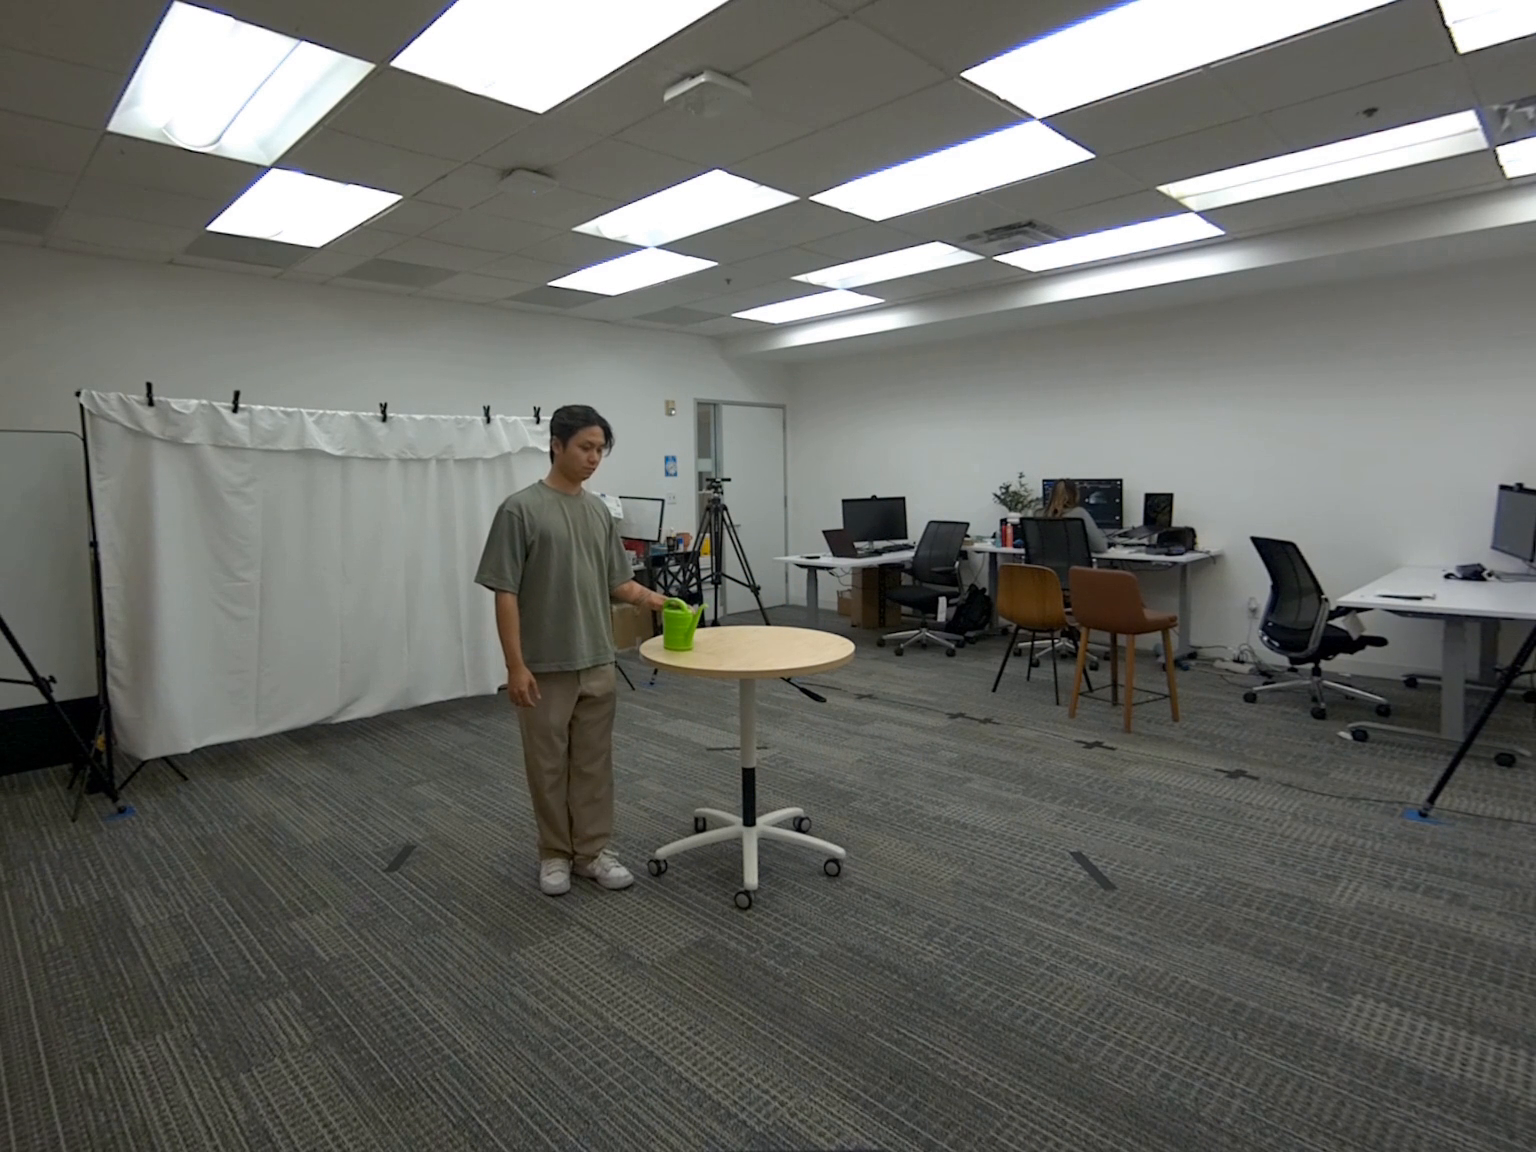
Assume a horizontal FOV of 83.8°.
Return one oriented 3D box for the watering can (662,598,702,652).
[{"bbox_3d":[-0.299,0.173,2.994,0.096,0.176,0.285,-5,5,-26],"label":"watering can"}]
